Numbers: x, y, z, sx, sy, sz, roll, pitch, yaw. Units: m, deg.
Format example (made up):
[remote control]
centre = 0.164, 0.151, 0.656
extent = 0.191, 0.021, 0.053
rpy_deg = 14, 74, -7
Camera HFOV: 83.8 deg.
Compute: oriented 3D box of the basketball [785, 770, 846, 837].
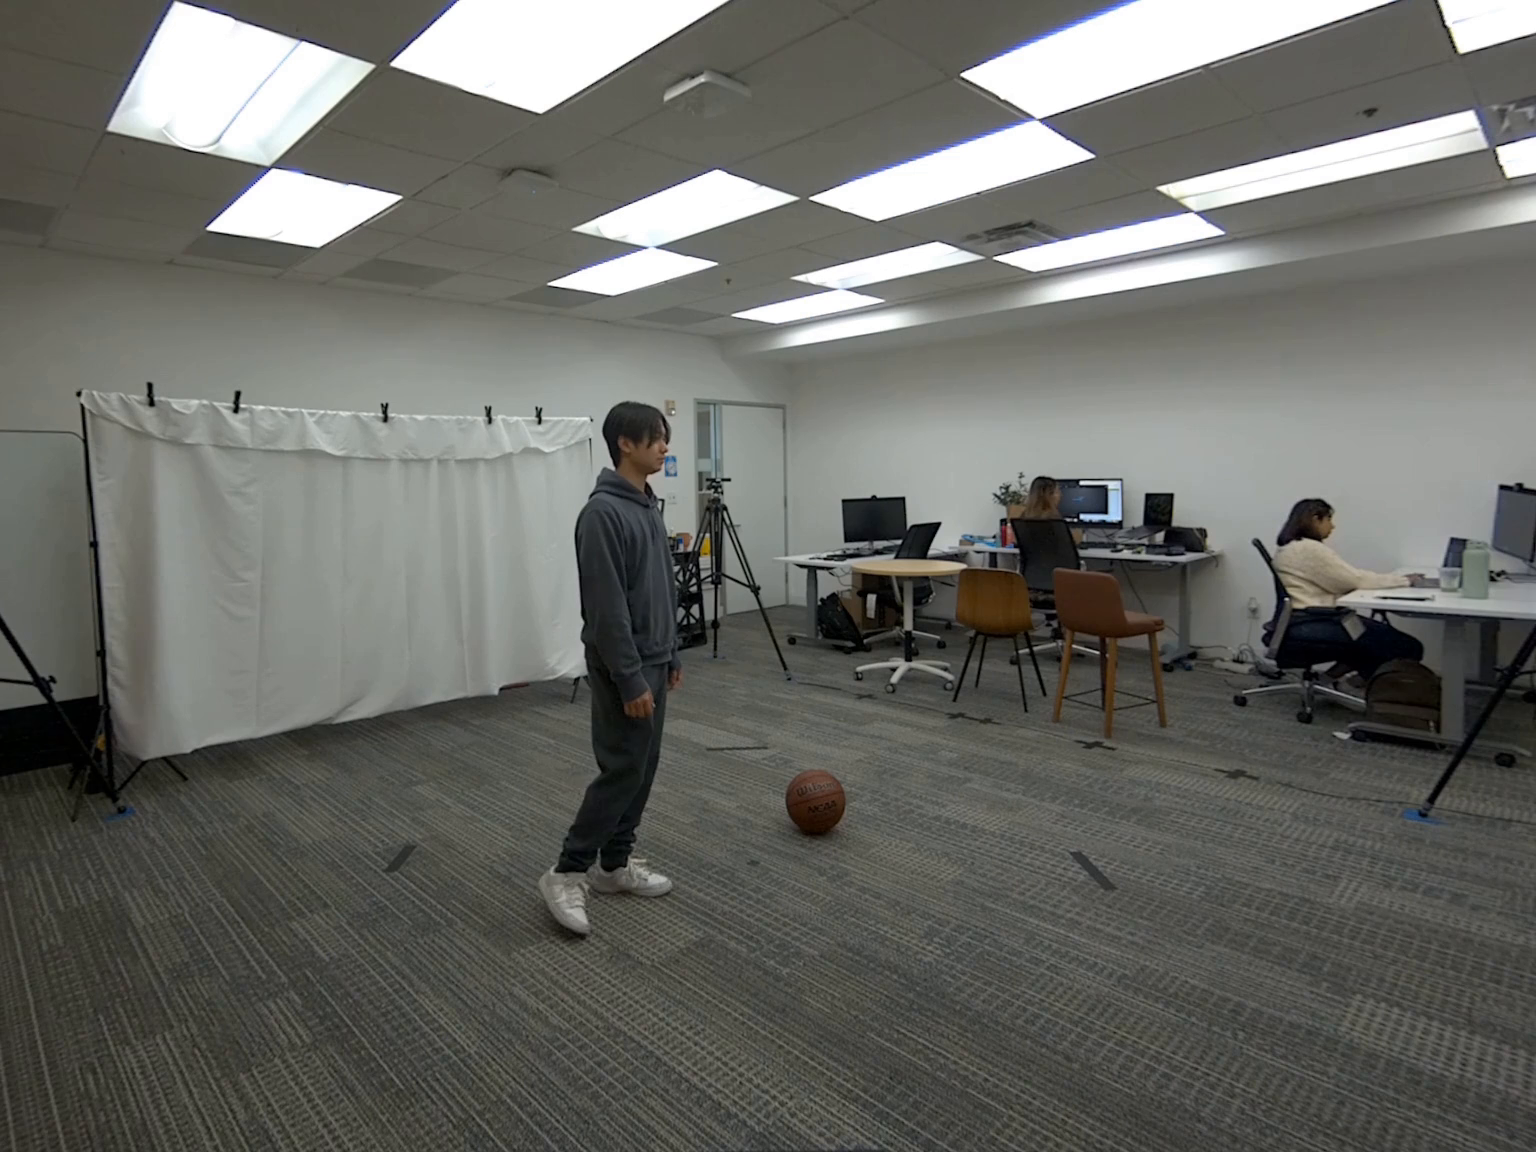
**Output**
[basketball]
centre = 0.188, 0.886, 3.382
extent = 0.236, 0.235, 0.237
rpy_deg = -1, 5, -2
